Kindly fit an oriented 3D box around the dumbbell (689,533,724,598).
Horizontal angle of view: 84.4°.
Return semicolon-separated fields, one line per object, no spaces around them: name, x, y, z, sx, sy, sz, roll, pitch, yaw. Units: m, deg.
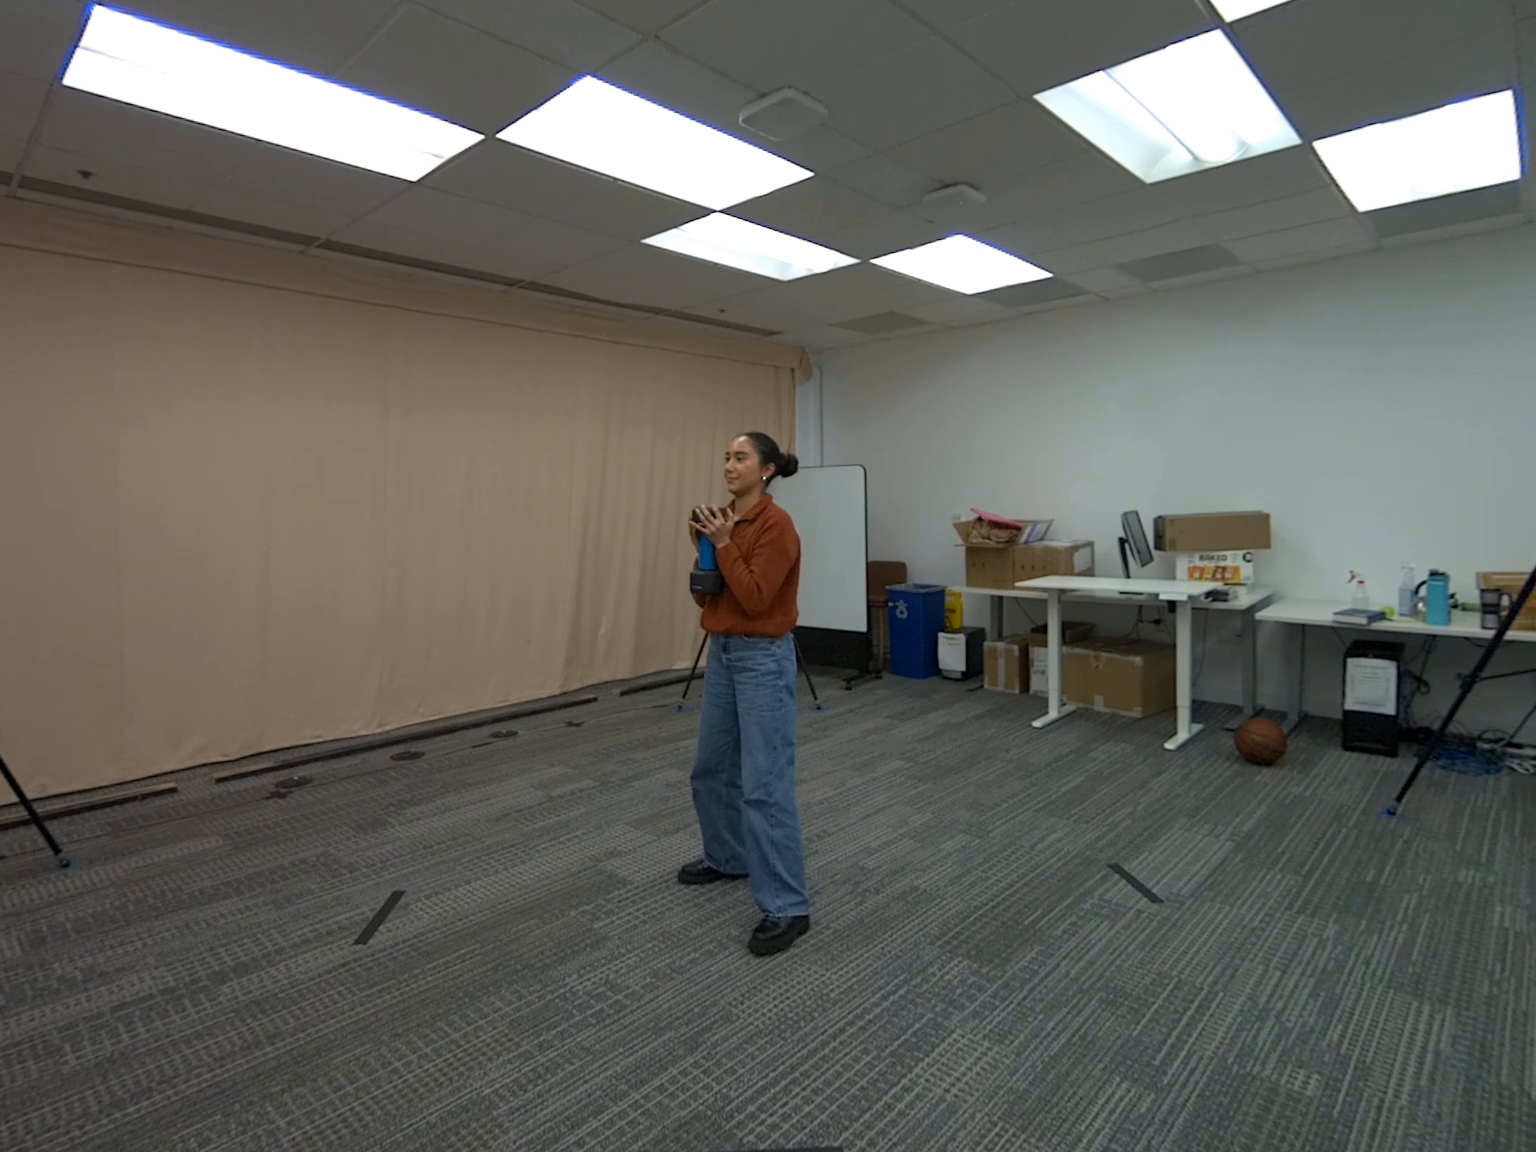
dumbbell;-0.196;-0.084;2.848;0.127;0.293;0.105;4;0;44
